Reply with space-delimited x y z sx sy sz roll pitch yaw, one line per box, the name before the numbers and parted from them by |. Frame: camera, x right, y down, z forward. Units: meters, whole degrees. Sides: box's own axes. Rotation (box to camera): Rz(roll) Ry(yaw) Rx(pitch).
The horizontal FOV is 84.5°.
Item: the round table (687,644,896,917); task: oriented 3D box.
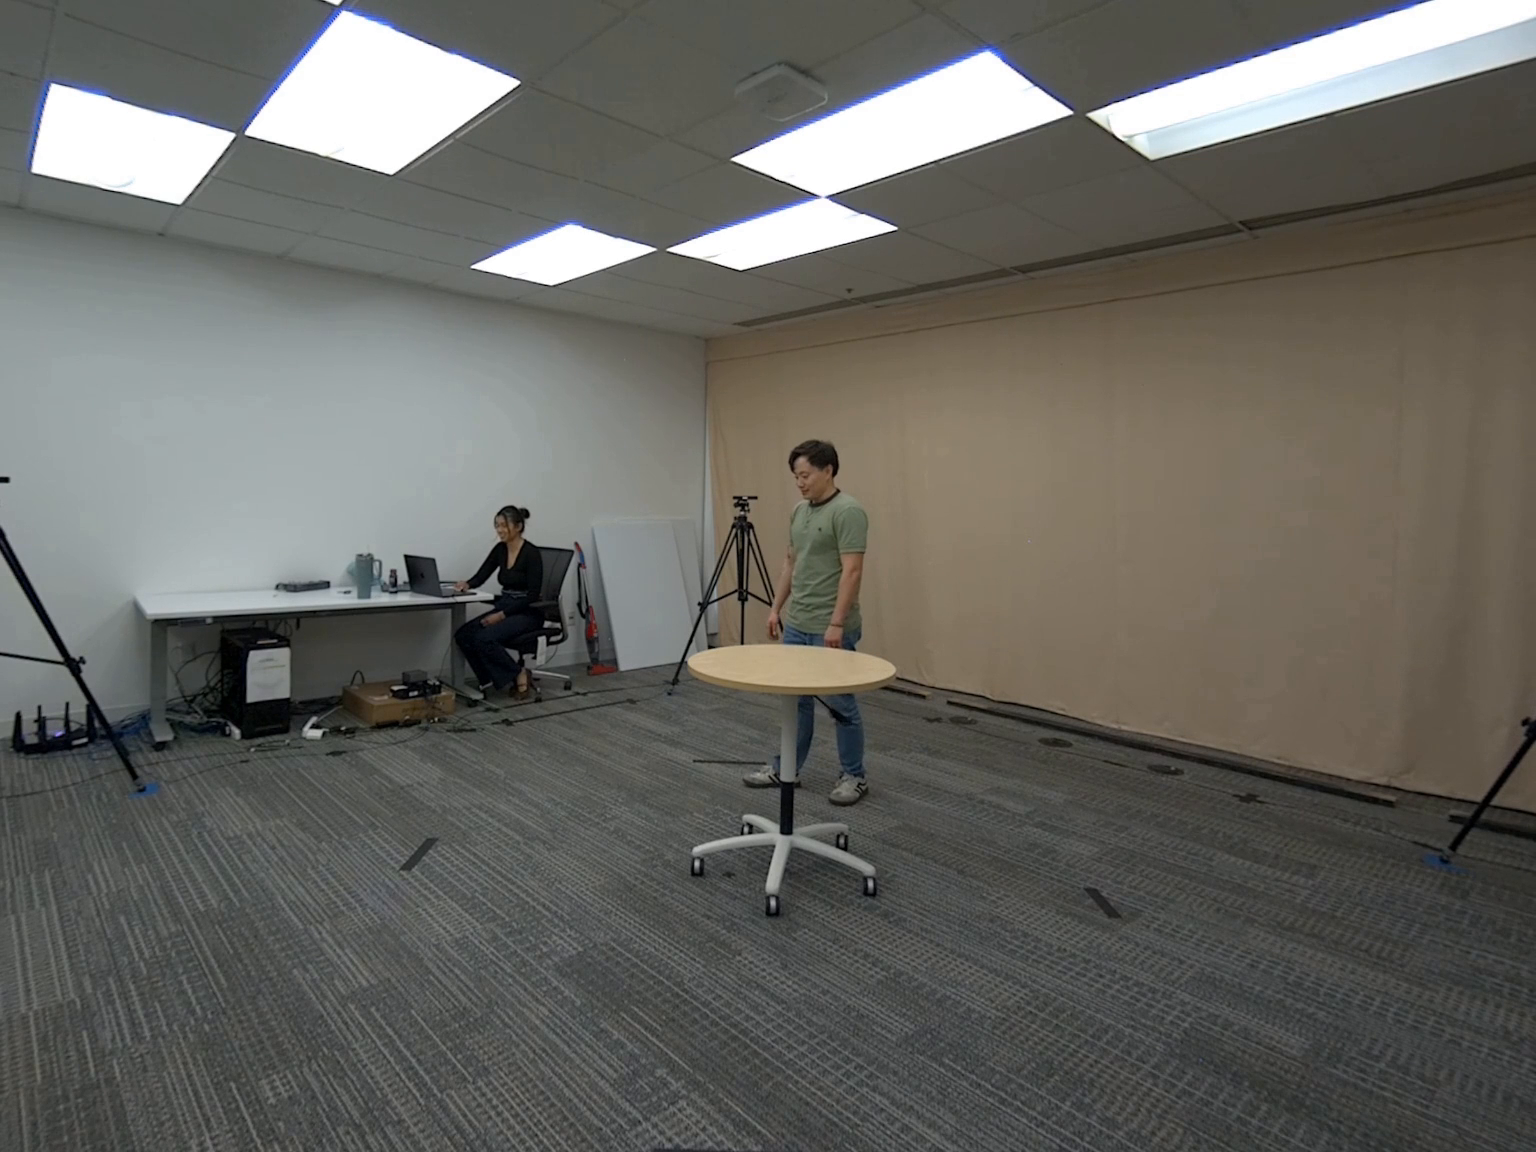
round table | 0.067 0.717 3.133 0.763 0.792 0.766 1 4 -1
